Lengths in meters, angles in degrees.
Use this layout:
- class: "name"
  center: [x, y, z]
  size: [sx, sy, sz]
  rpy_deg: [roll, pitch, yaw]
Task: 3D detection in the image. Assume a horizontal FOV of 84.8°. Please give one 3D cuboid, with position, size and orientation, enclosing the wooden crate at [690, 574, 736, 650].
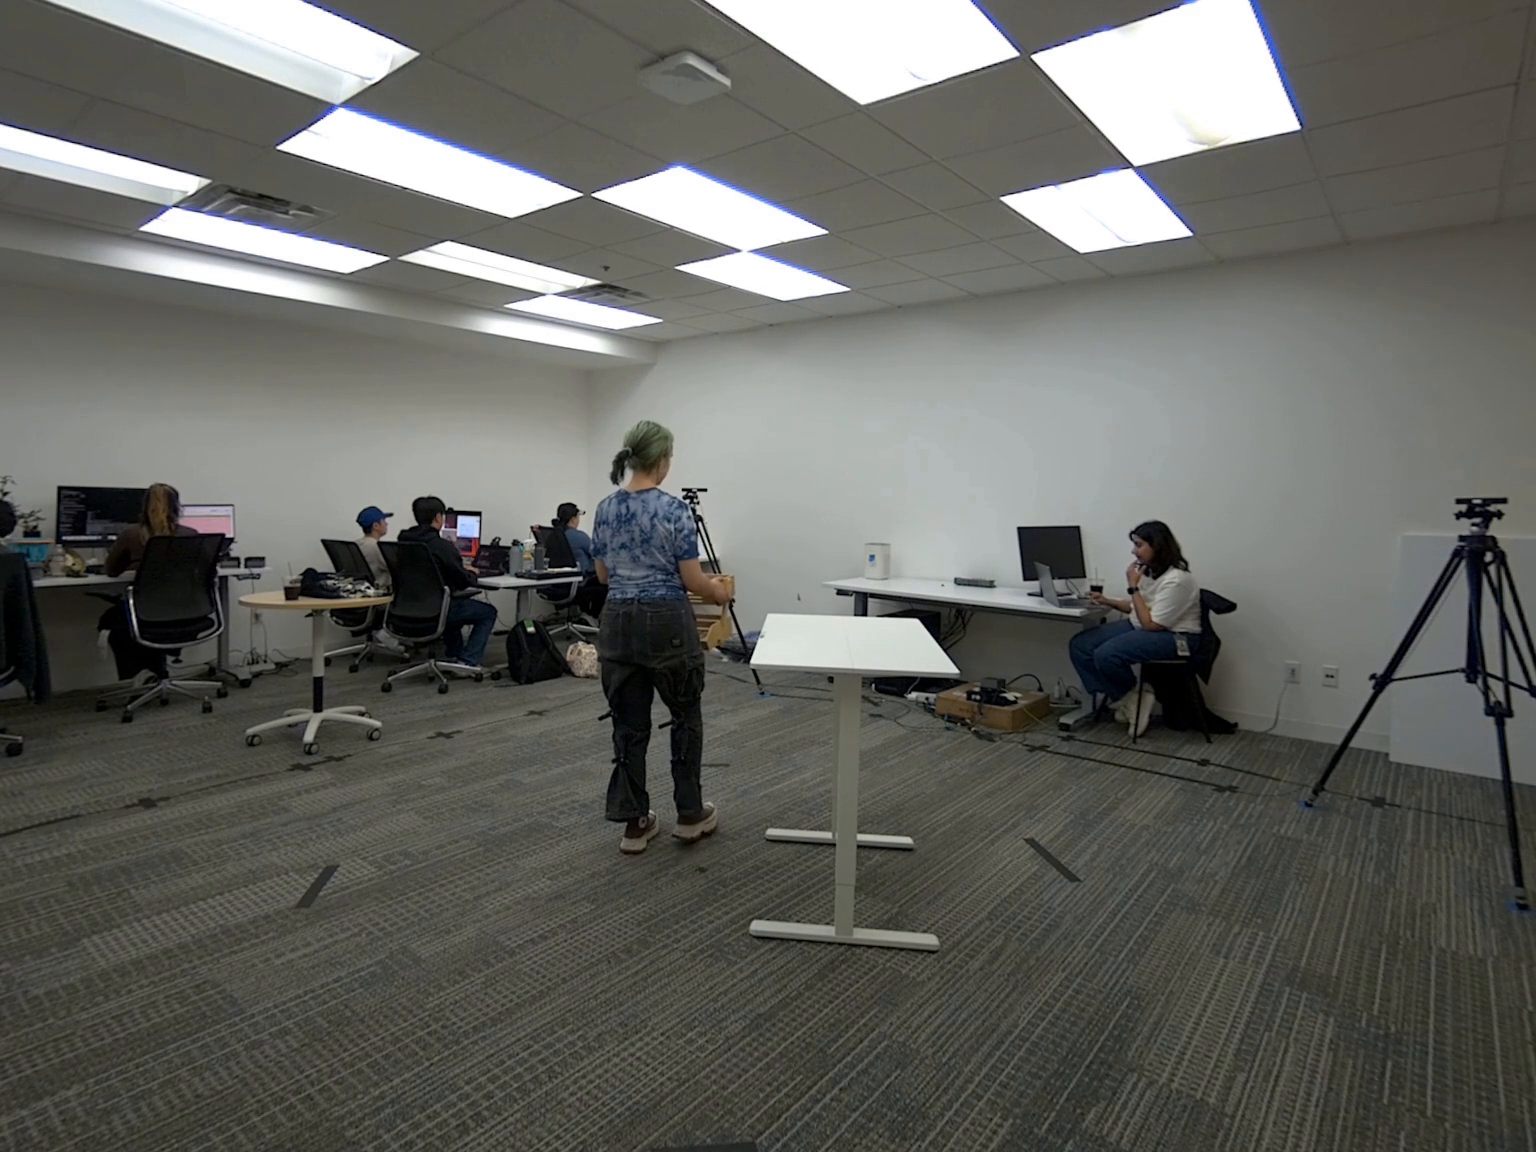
- class: "wooden crate"
  center: [-0.344, 0.141, 3.639]
  size: [0.332, 0.271, 0.297]
  rpy_deg: [1, 10, 24]
